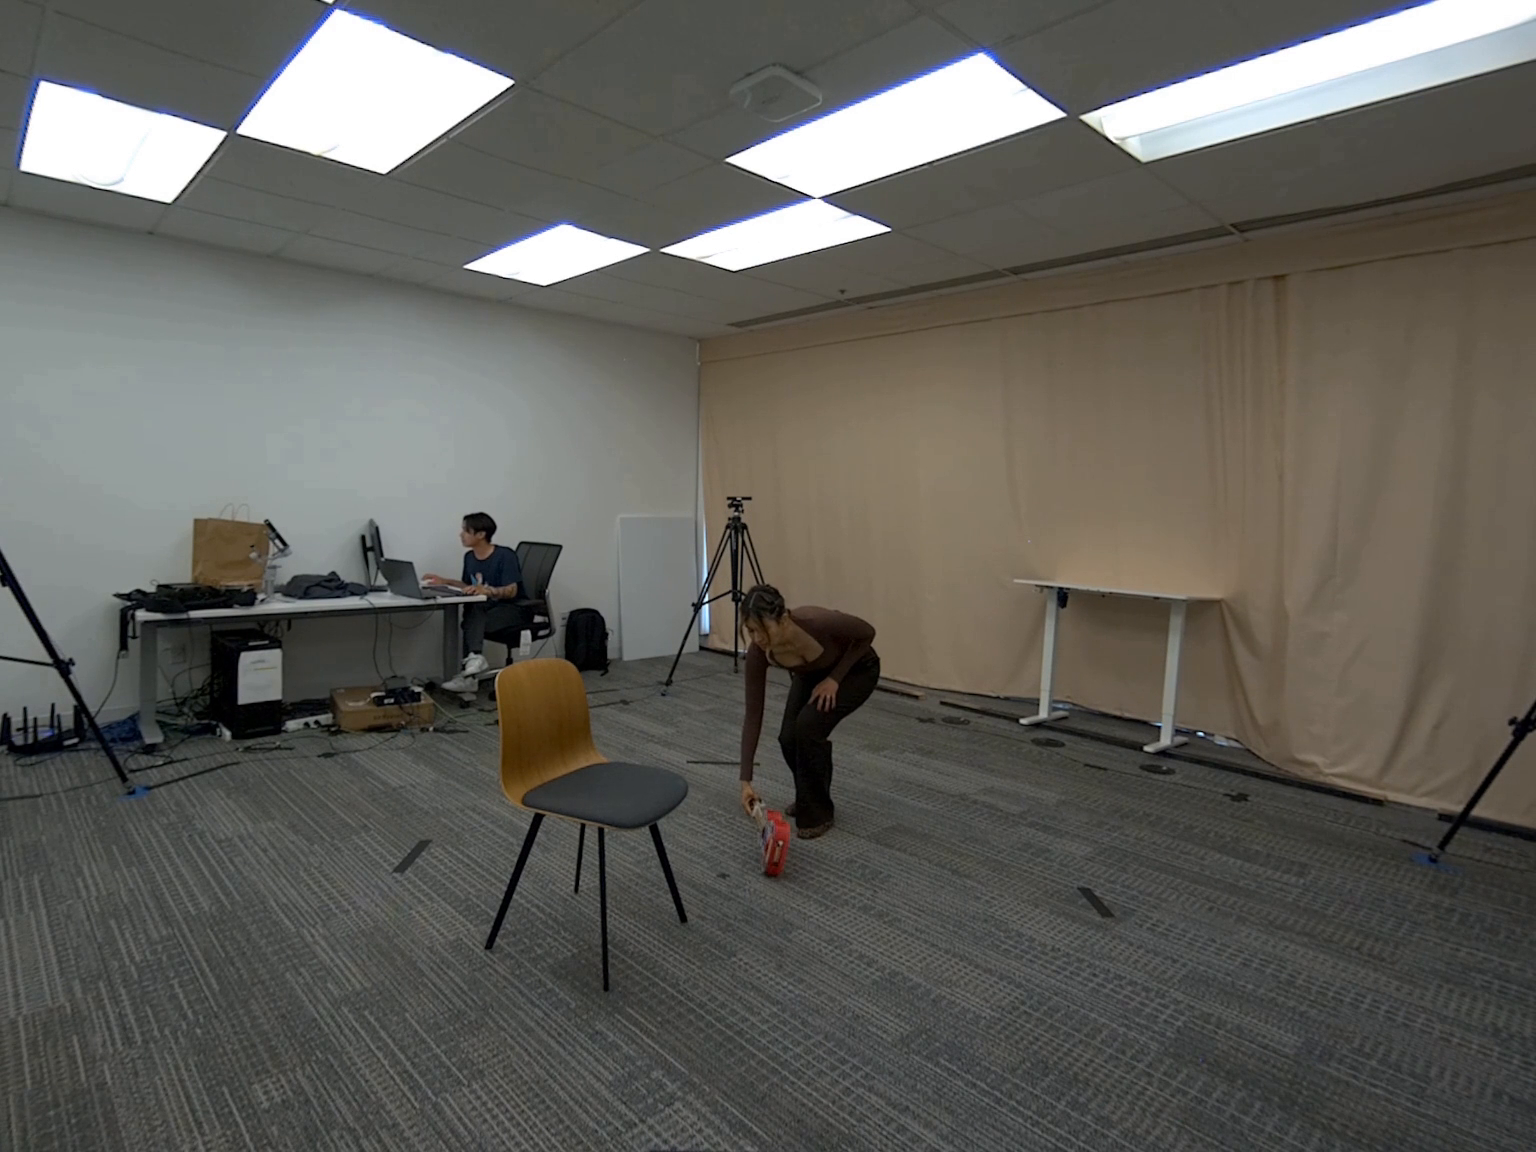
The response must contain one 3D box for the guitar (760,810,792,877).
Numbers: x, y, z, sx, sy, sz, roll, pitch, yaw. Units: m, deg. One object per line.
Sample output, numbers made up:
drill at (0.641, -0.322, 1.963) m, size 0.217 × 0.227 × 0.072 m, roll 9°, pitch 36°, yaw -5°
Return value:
guitar at (-0.001, 0.956, 3.301) m, size 0.070 × 0.191 × 0.505 m, roll 11°, pitch 14°, yaw -10°
